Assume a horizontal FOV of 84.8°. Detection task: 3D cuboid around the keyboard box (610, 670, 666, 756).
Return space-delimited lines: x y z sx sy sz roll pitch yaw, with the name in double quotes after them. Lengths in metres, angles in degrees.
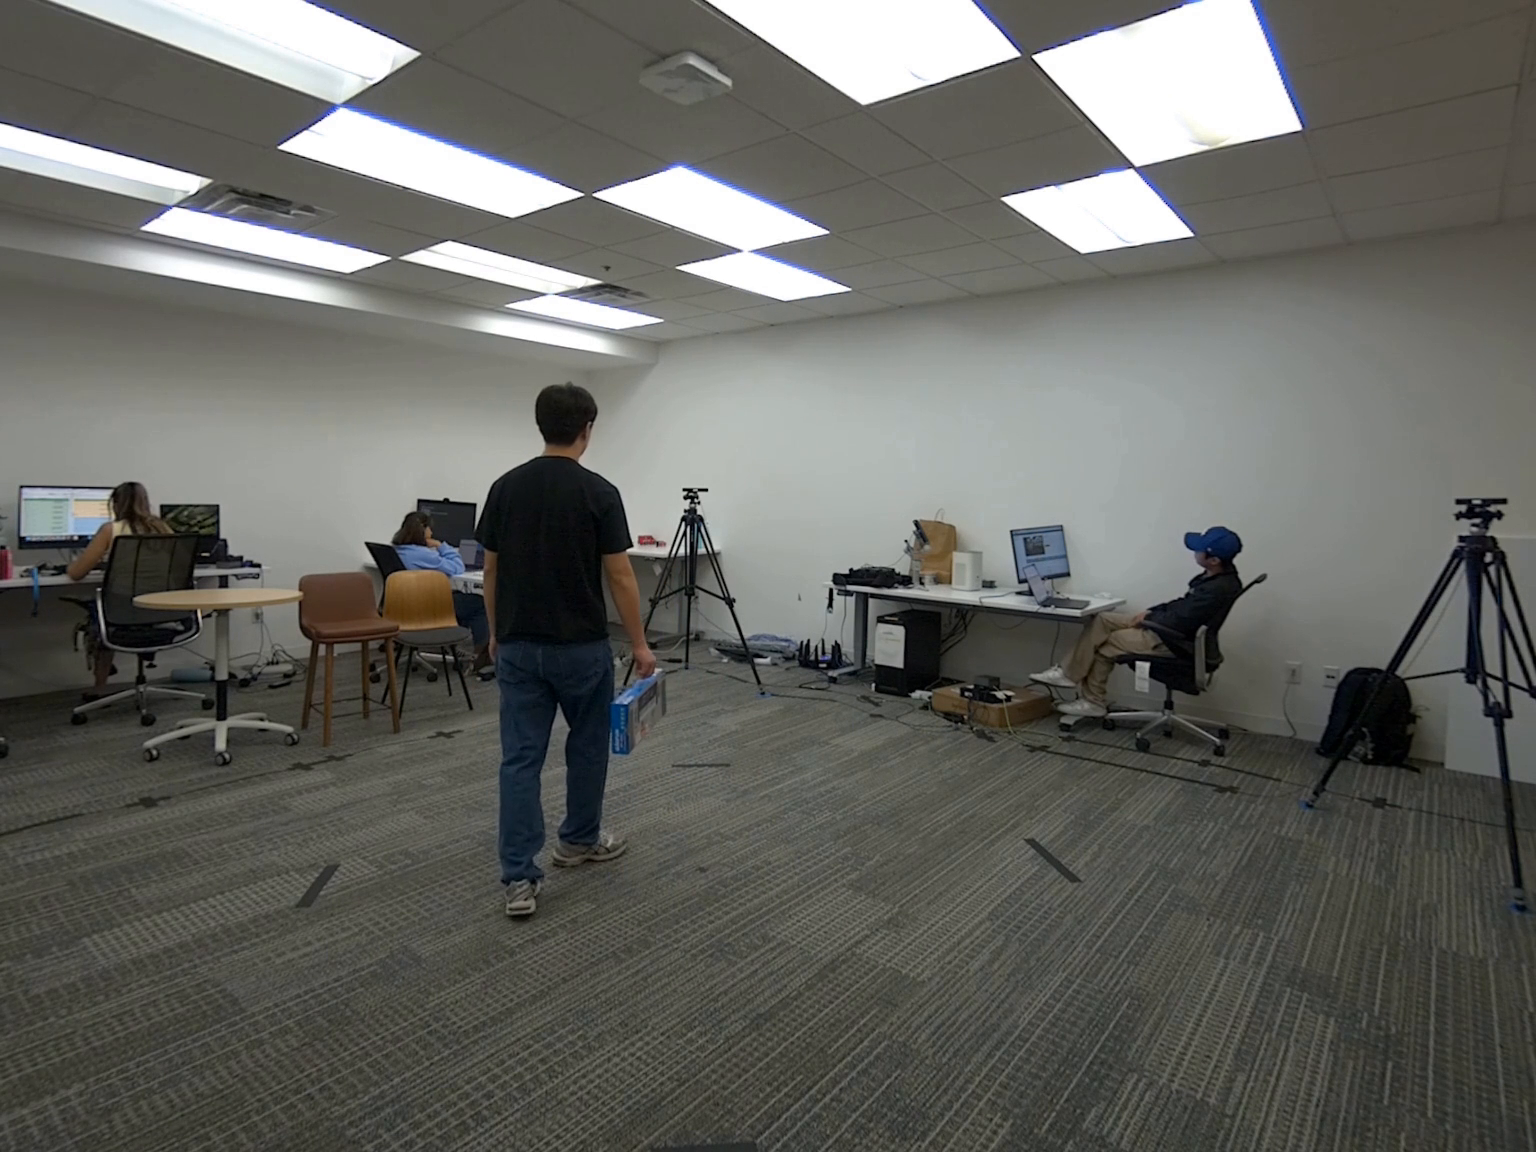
-0.458 0.459 2.983 0.060 0.174 0.435 1 9 10 "keyboard box"
